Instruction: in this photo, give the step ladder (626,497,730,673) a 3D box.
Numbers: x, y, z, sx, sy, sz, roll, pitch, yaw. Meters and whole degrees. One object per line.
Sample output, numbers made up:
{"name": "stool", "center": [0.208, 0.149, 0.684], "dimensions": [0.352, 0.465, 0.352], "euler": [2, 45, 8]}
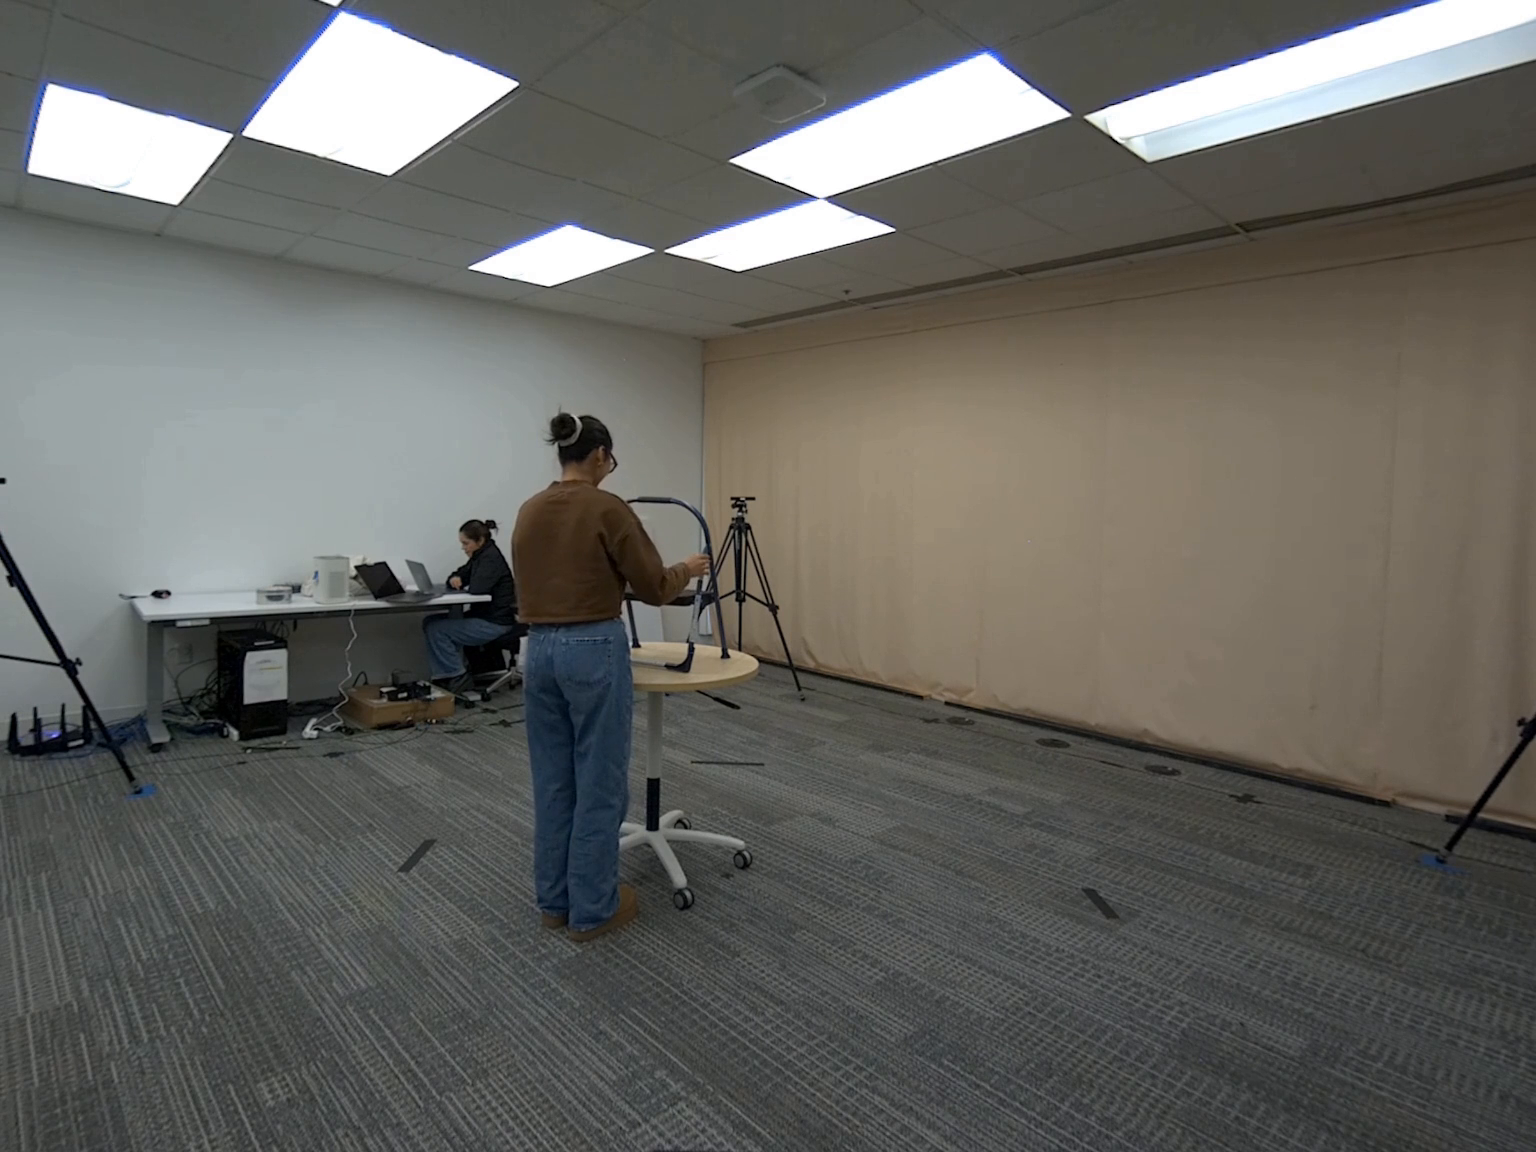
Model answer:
{"name": "step ladder", "center": [-0.401, 0.014, 3.148], "dimensions": [0.439, 0.605, 0.343], "euler": [4, 4, 23]}
